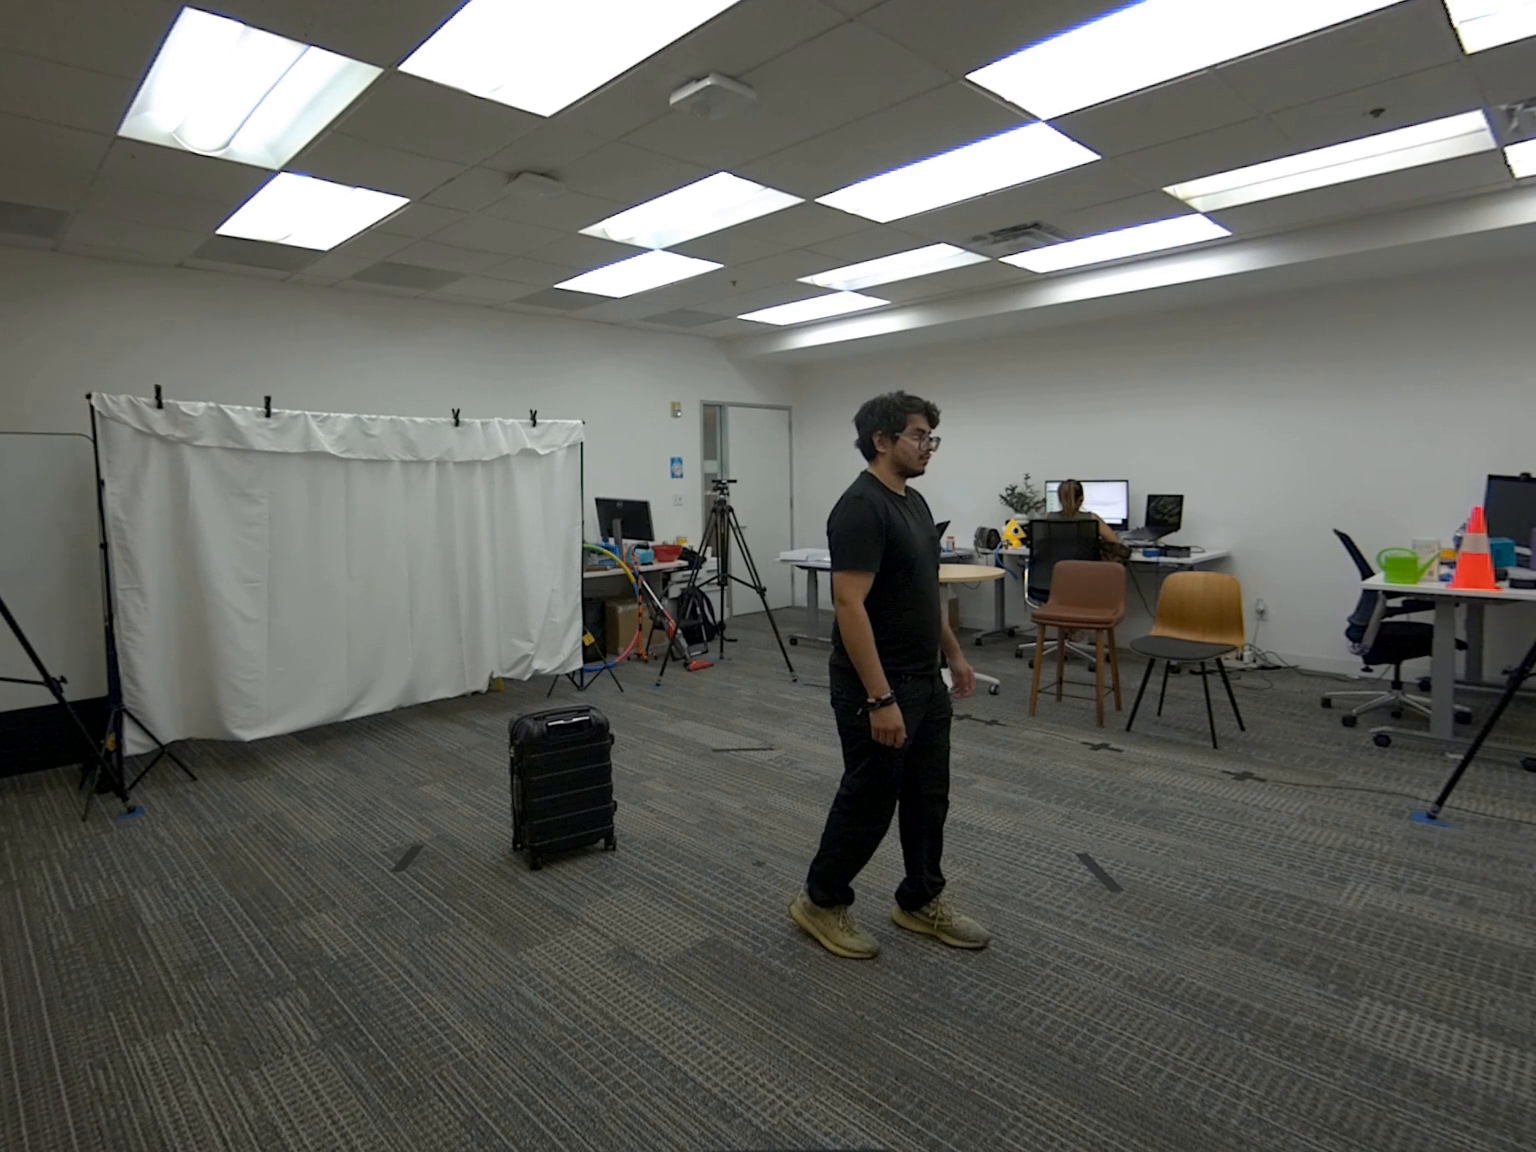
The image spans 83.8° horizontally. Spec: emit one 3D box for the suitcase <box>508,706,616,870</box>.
[{"bbox_3d":[-0.782,0.774,3.239,0.366,0.547,0.255,-4,6,-32],"label":"suitcase"}]
